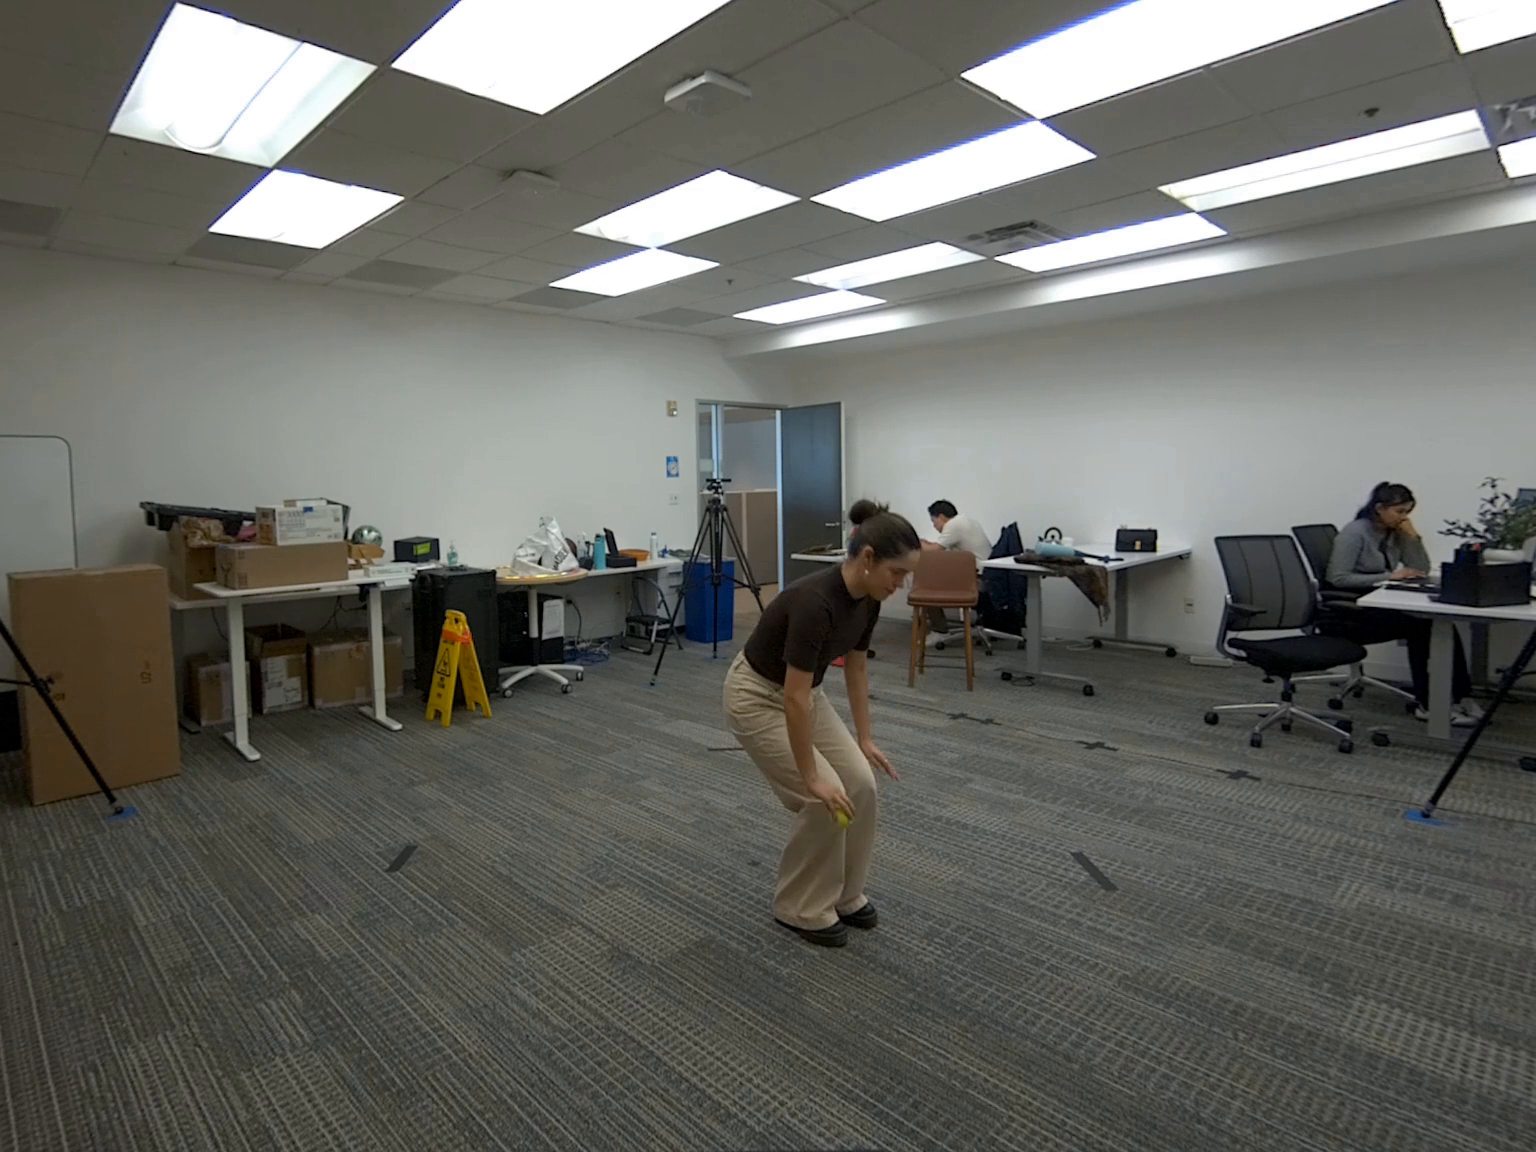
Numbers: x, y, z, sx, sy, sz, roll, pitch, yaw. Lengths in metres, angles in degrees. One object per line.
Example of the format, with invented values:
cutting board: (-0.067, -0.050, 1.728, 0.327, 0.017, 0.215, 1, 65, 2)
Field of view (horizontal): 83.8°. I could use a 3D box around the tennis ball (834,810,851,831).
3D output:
tennis ball: (0.234, 0.721, 2.445, 0.066, 0.066, 0.067, -1, 5, -2)
